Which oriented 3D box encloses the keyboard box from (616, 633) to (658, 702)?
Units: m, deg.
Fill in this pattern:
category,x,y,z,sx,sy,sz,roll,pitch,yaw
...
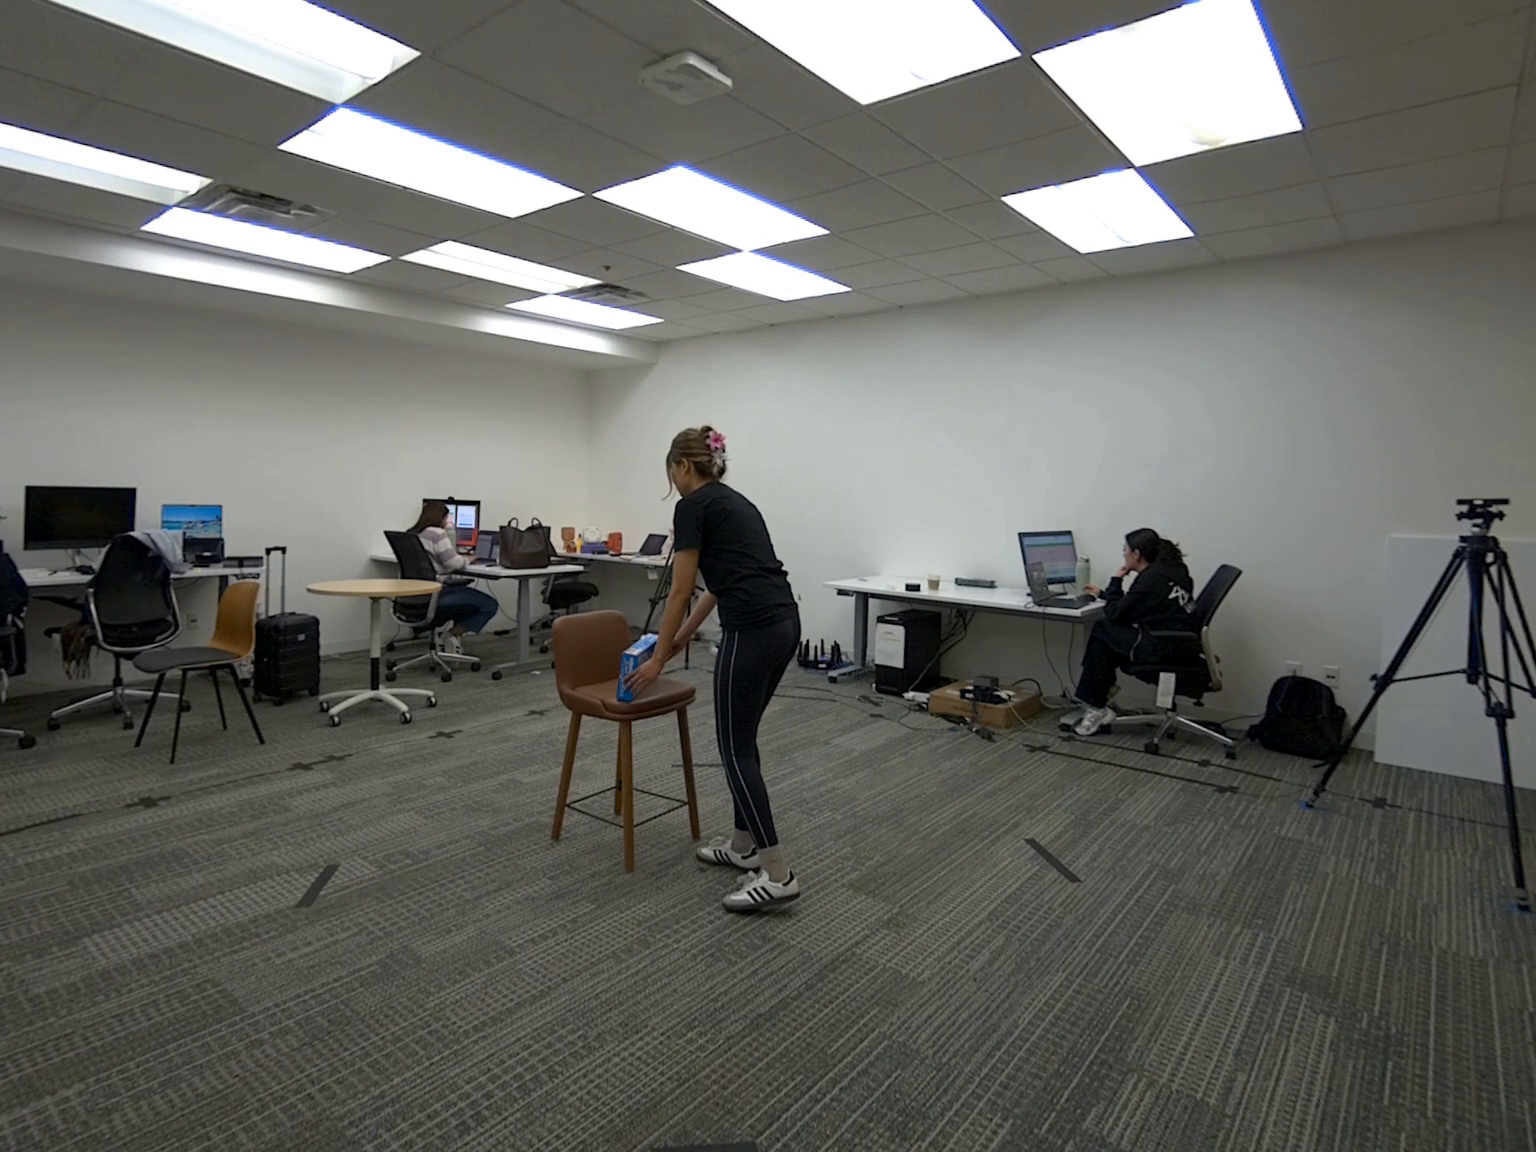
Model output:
category,x,y,z,sx,sy,sz,roll,pitch,yaw
keyboard box,-0.505,0.339,3.302,0.059,0.175,0.435,8,6,4
